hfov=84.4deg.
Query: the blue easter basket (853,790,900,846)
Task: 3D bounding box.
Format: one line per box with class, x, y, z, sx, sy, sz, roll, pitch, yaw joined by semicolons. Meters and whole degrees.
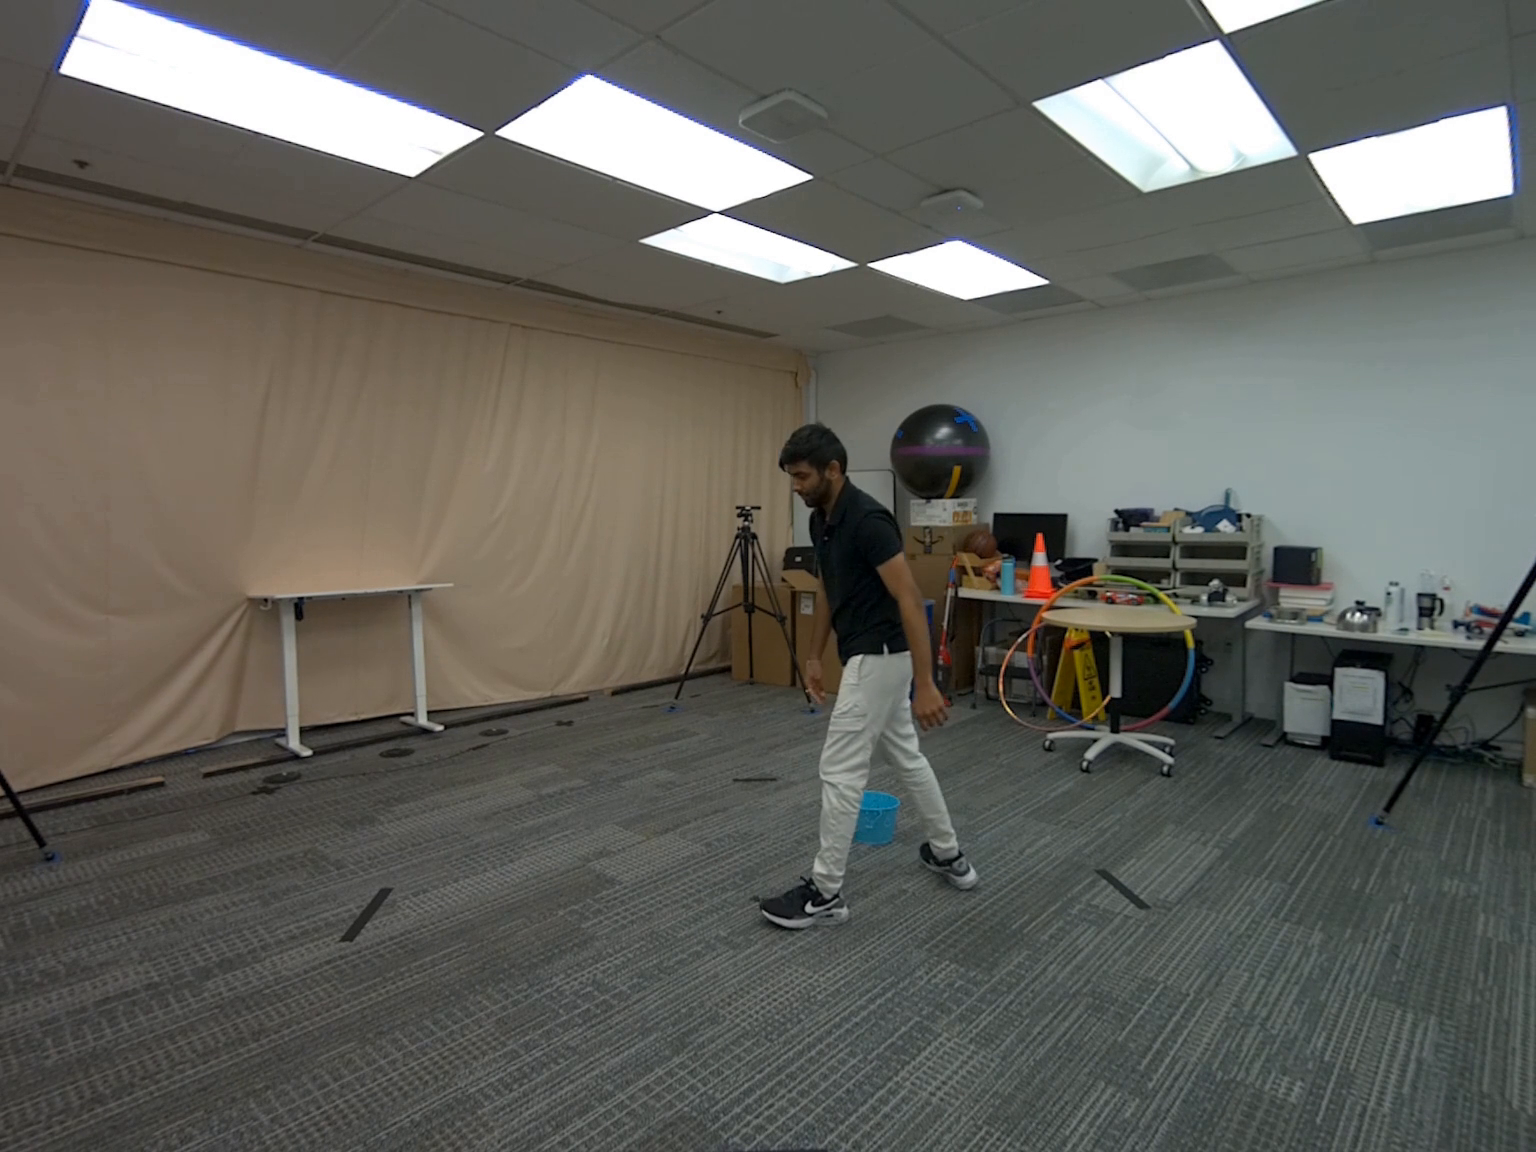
blue easter basket;0.437;1.019;3.558;0.243;0.155;0.244;0;4;-2
